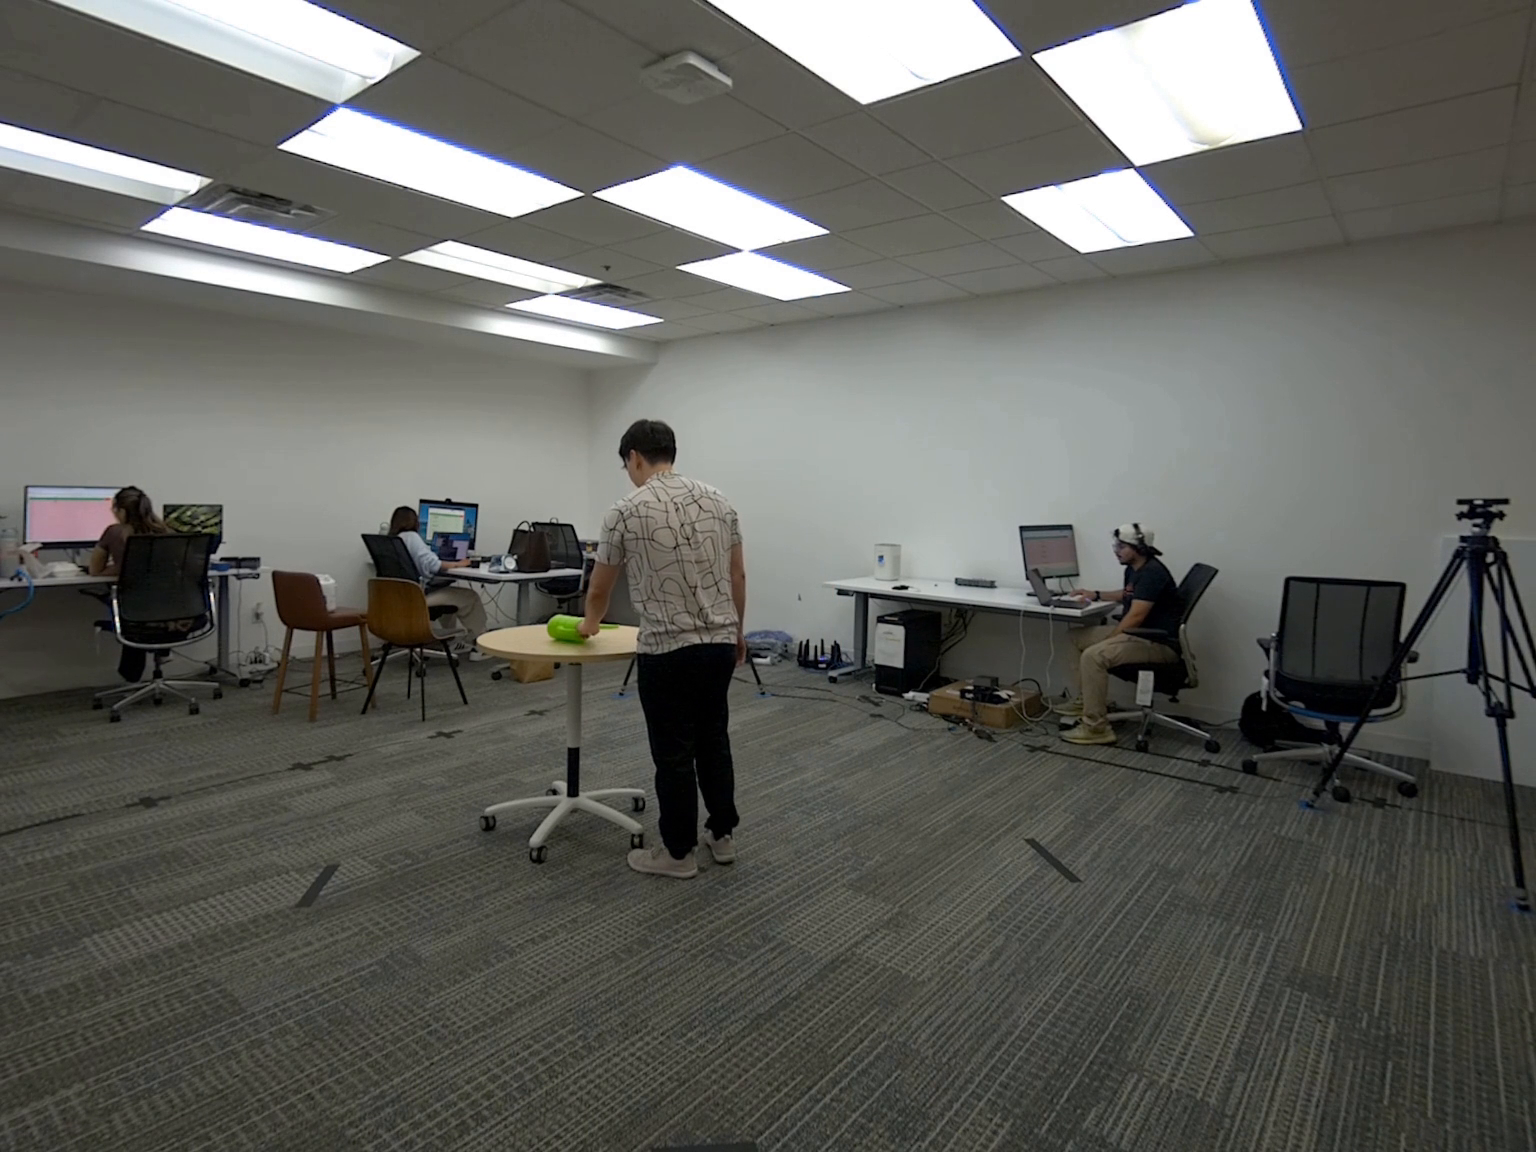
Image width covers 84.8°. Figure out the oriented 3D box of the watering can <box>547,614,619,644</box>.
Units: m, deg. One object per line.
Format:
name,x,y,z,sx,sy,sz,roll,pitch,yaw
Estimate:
watering can,-0.755,0.214,3.377,0.182,0.099,0.268,5,-8,28
